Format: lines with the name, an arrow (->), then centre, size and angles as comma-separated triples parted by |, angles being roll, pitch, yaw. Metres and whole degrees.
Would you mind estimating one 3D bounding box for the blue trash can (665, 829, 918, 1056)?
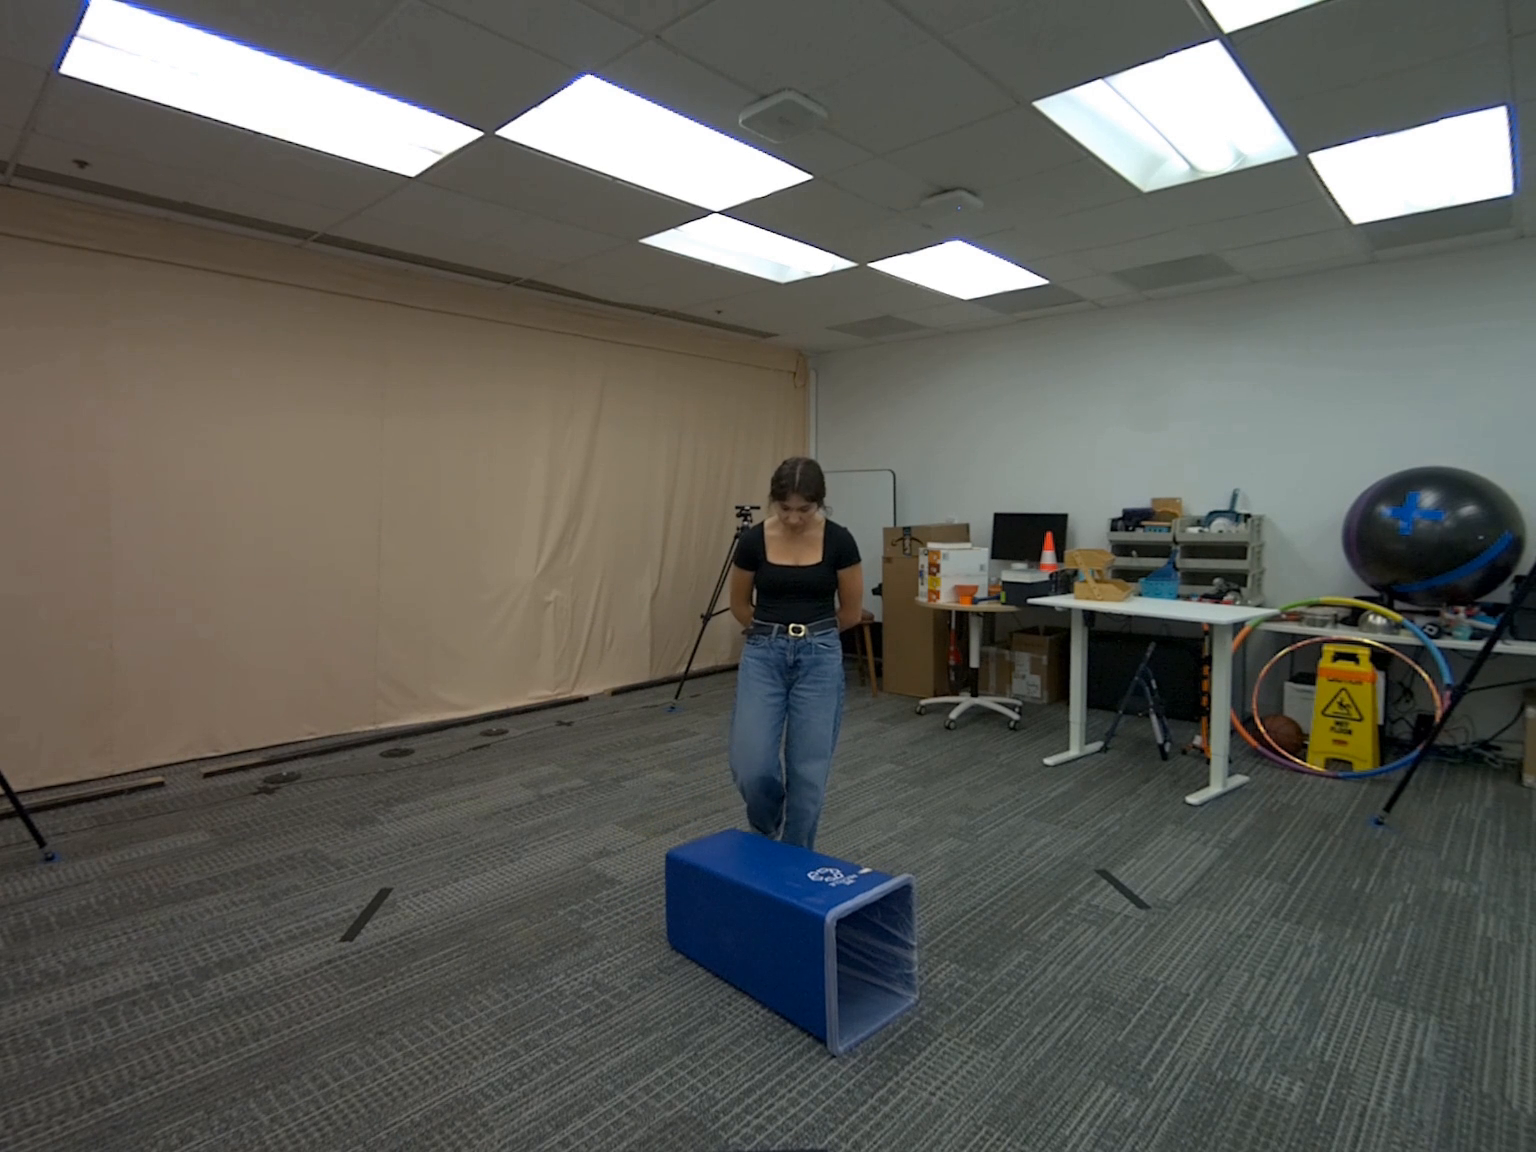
blue trash can -> 0.038, 1.020, 2.485 | 0.362, 0.378, 0.736 | -4, 3, -45
